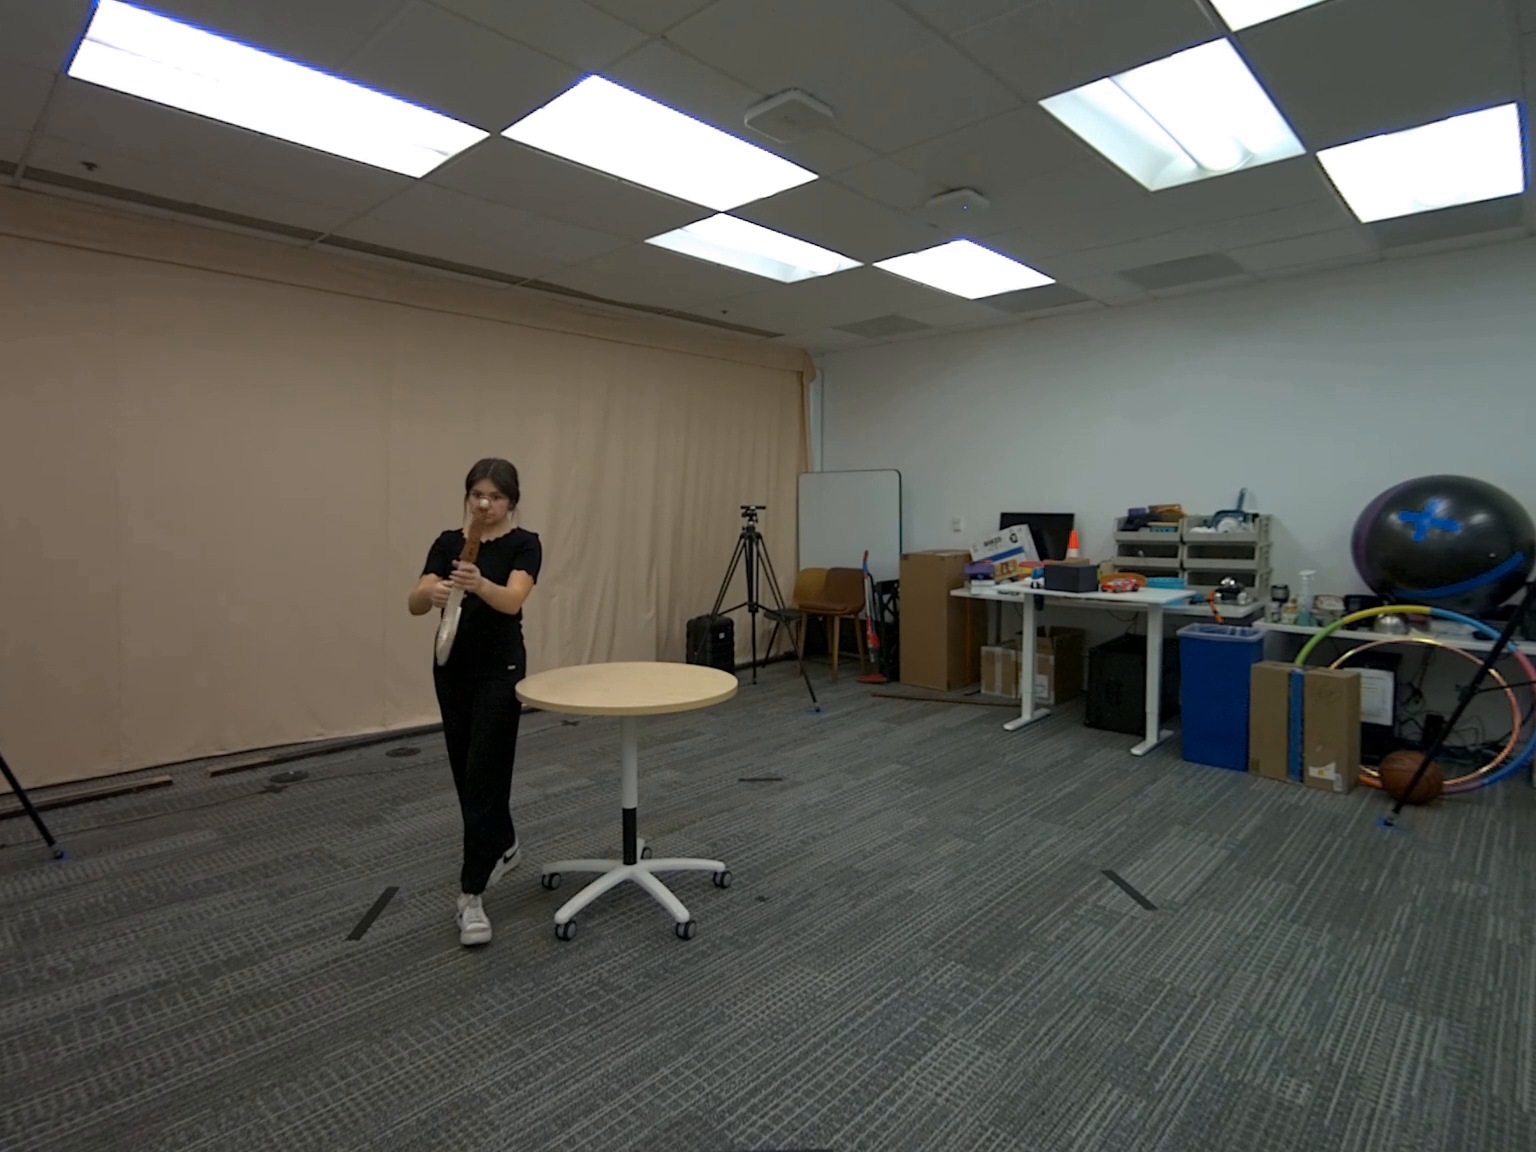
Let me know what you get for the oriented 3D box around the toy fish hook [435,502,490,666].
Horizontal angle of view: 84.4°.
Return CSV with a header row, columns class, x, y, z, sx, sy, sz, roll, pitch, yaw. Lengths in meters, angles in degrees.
class,x,y,z,sx,sy,sz,roll,pitch,yaw
toy fish hook,-0.905,0.016,2.485,0.047,0.505,0.231,12,11,-25
